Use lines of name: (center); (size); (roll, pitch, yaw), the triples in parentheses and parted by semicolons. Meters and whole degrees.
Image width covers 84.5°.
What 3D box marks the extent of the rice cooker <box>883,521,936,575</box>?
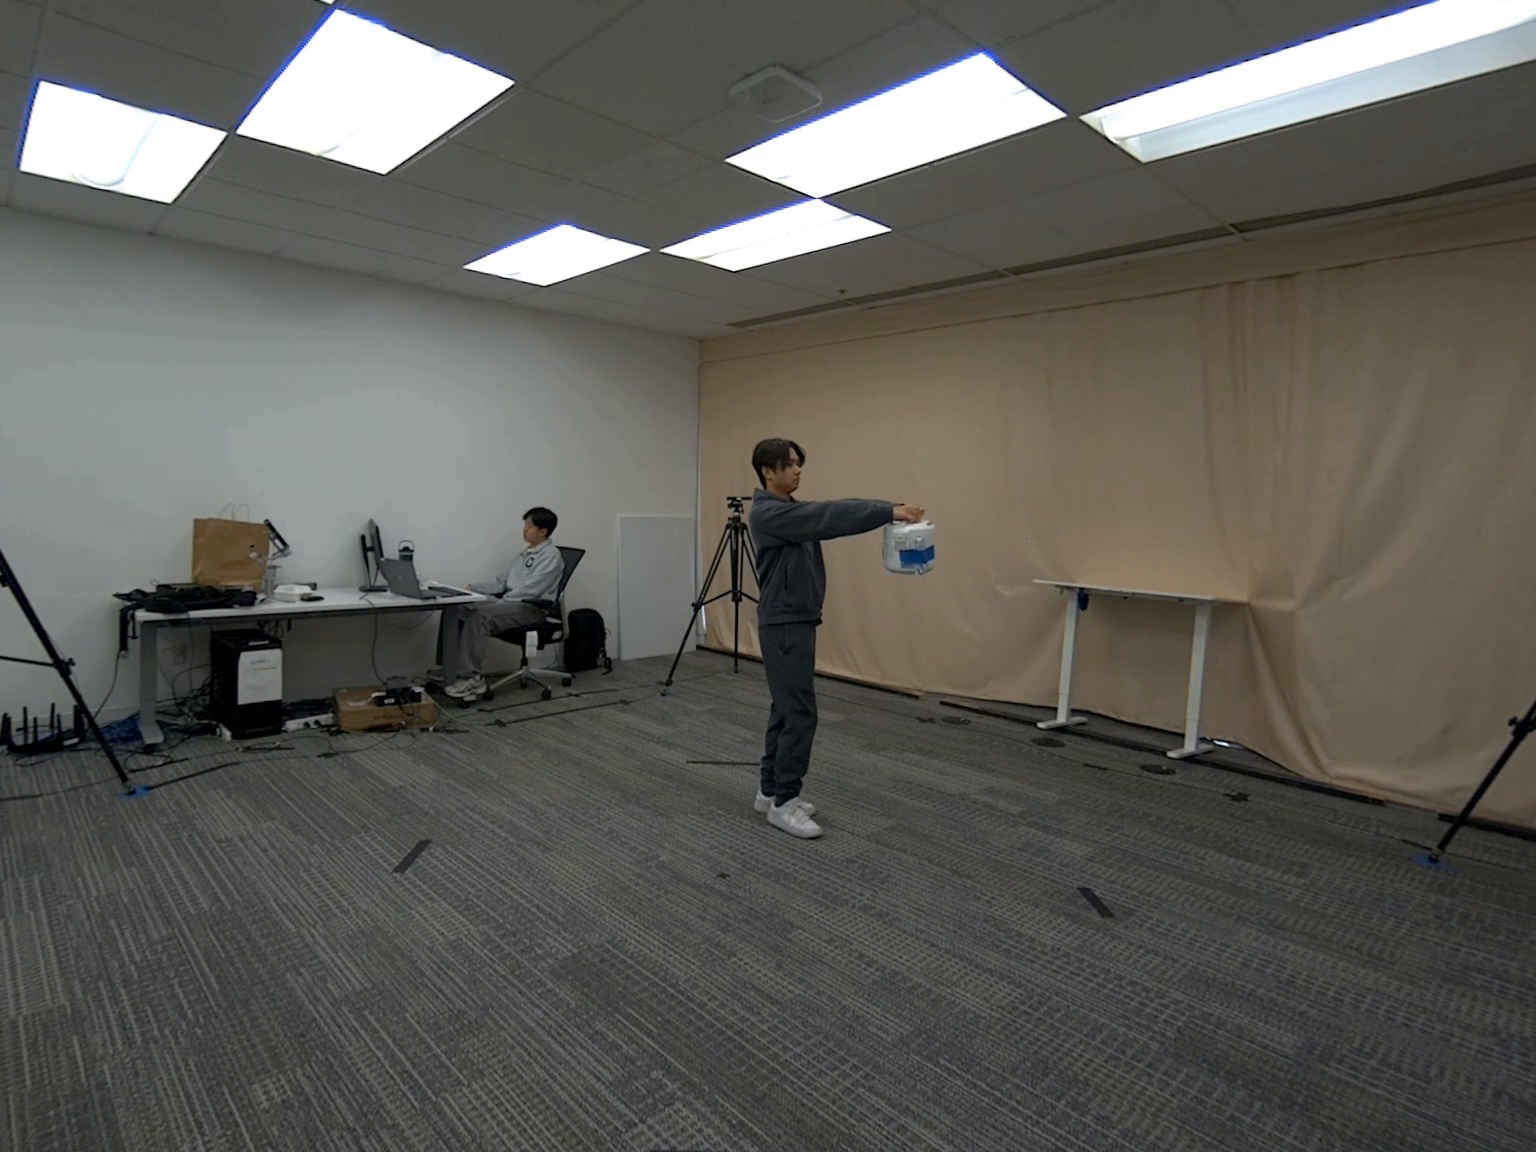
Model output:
rice cooker: (0.575, -0.132, 3.450); (0.222, 0.231, 0.217); (5, 11, 32)
